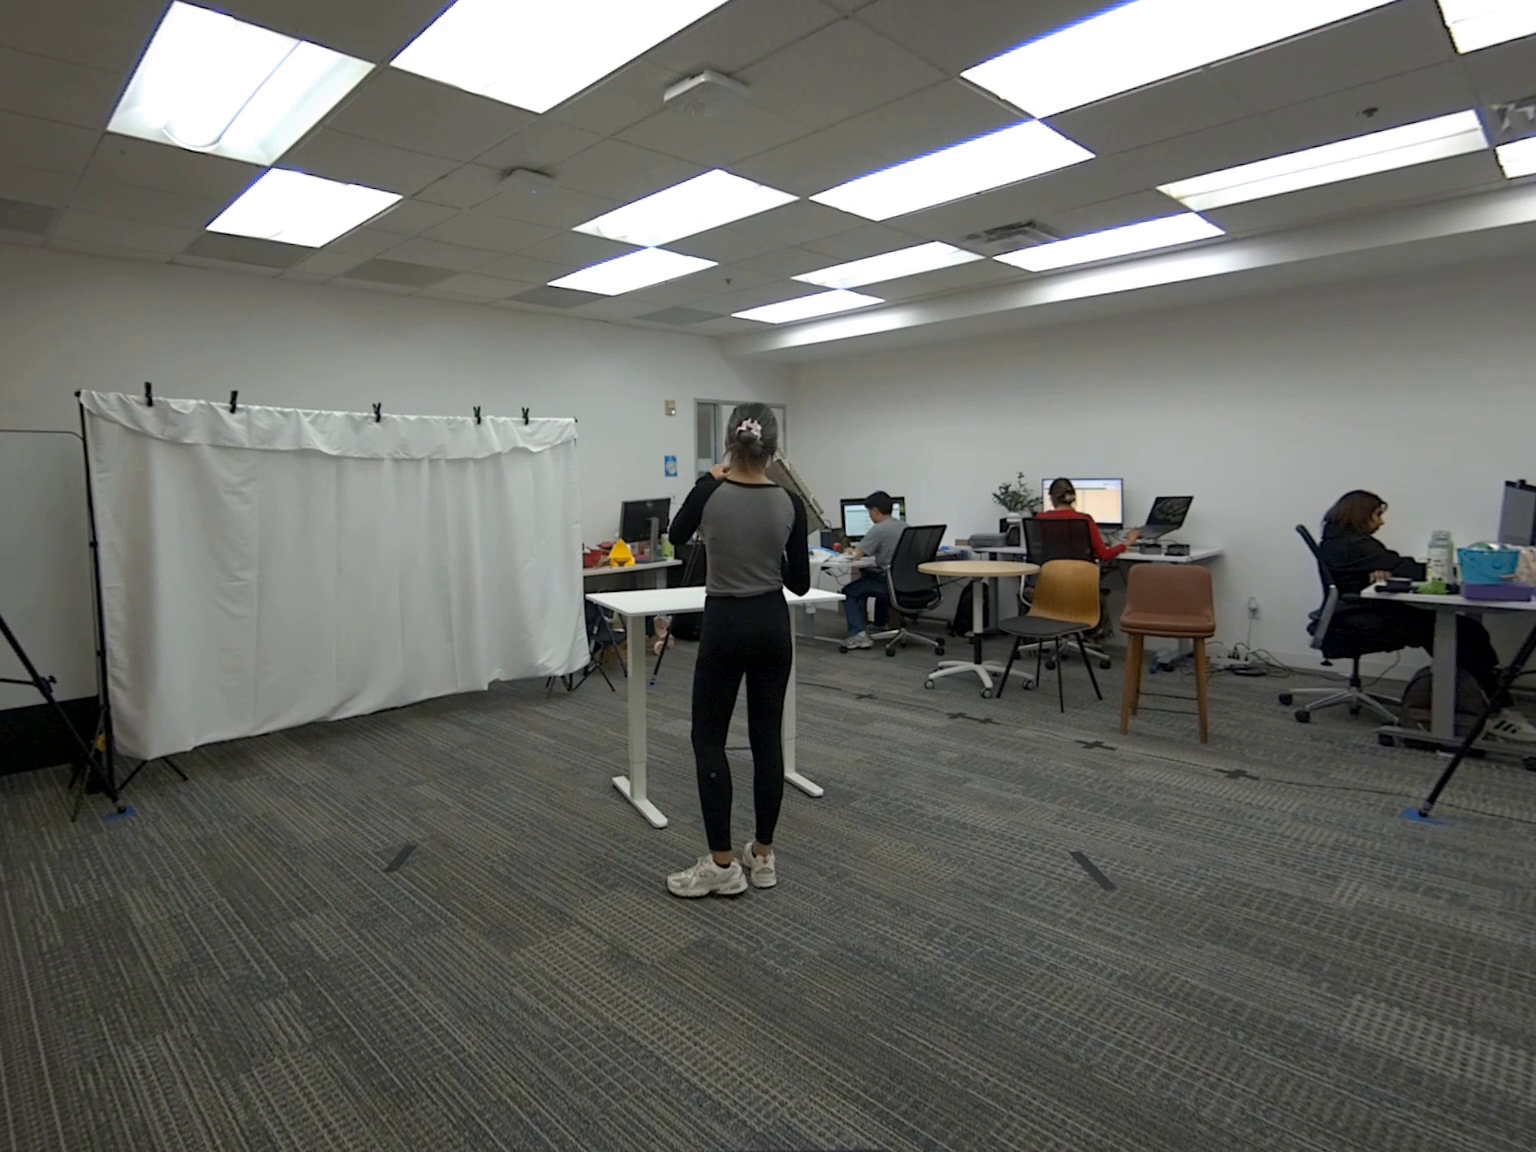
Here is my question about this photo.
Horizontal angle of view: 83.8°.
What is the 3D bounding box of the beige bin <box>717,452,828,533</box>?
[{"bbox_3d":[-0.049,-0.250,3.235,0.424,0.370,0.192,-32,17,12],"label":"beige bin"}]
